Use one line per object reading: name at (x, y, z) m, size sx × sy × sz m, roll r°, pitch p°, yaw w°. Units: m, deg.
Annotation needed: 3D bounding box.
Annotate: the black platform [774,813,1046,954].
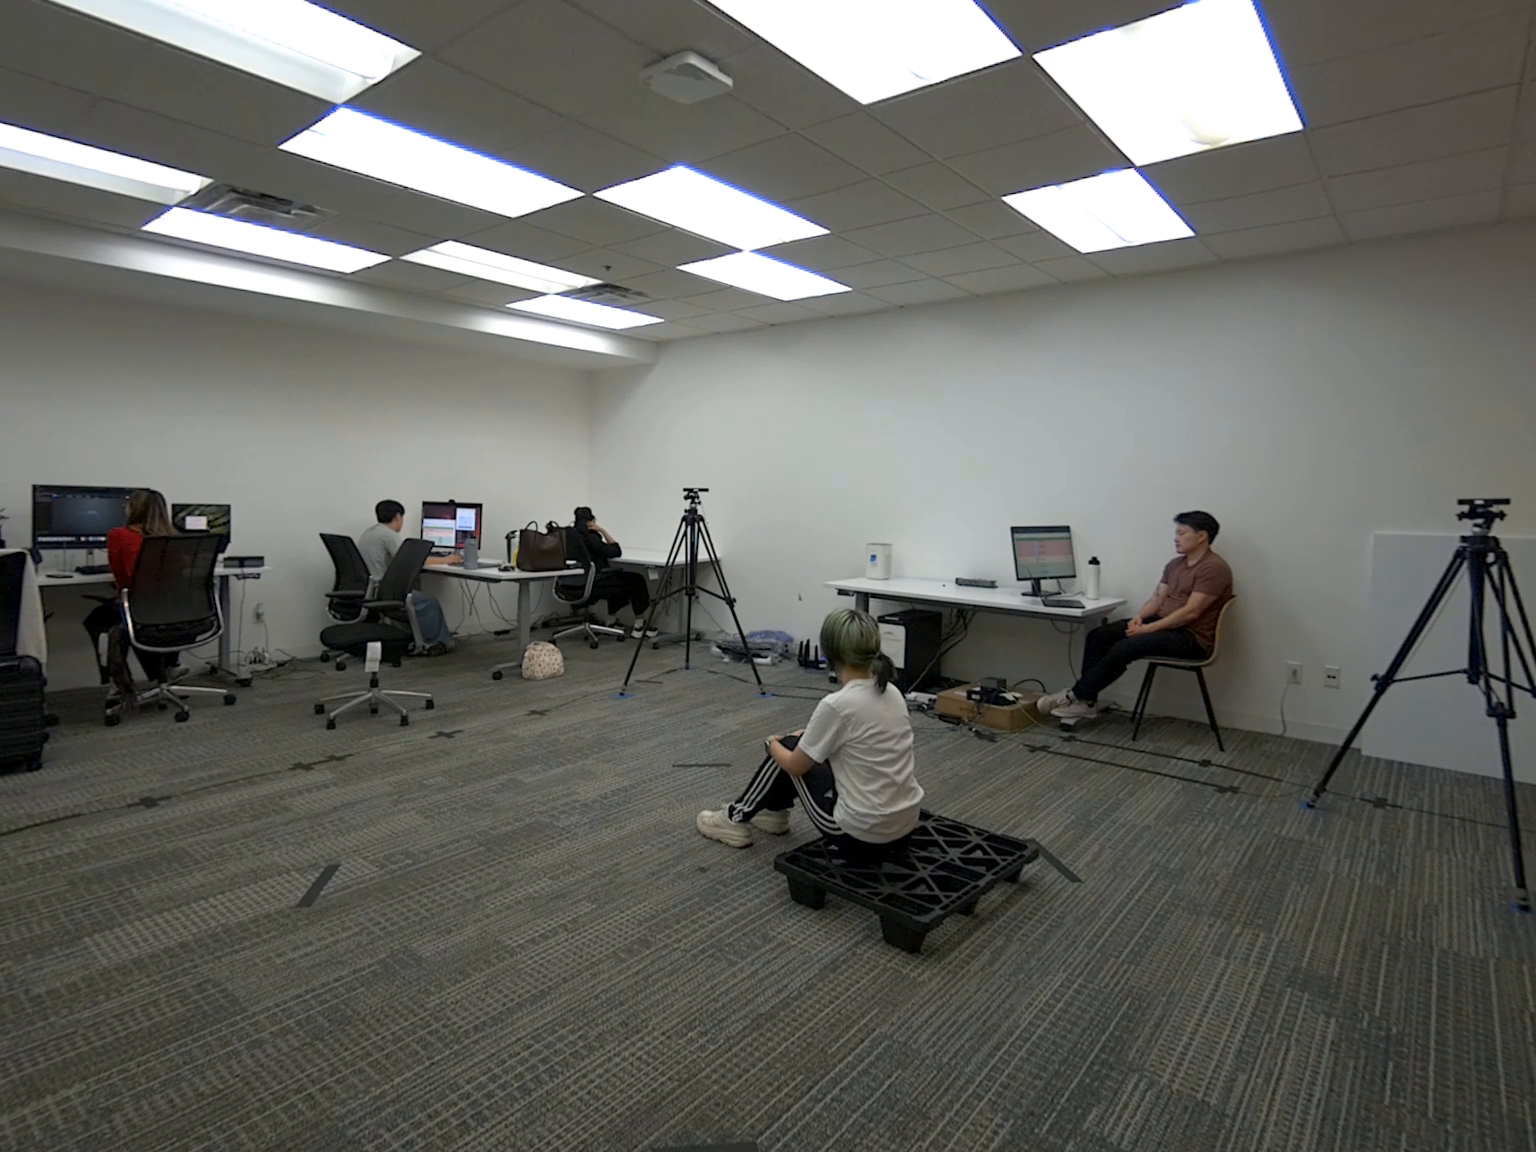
black platform at (0.485, 1.029, 2.983) m, size 0.626 × 0.143 × 0.781 m, roll 6°, pitch 6°, yaw 43°
